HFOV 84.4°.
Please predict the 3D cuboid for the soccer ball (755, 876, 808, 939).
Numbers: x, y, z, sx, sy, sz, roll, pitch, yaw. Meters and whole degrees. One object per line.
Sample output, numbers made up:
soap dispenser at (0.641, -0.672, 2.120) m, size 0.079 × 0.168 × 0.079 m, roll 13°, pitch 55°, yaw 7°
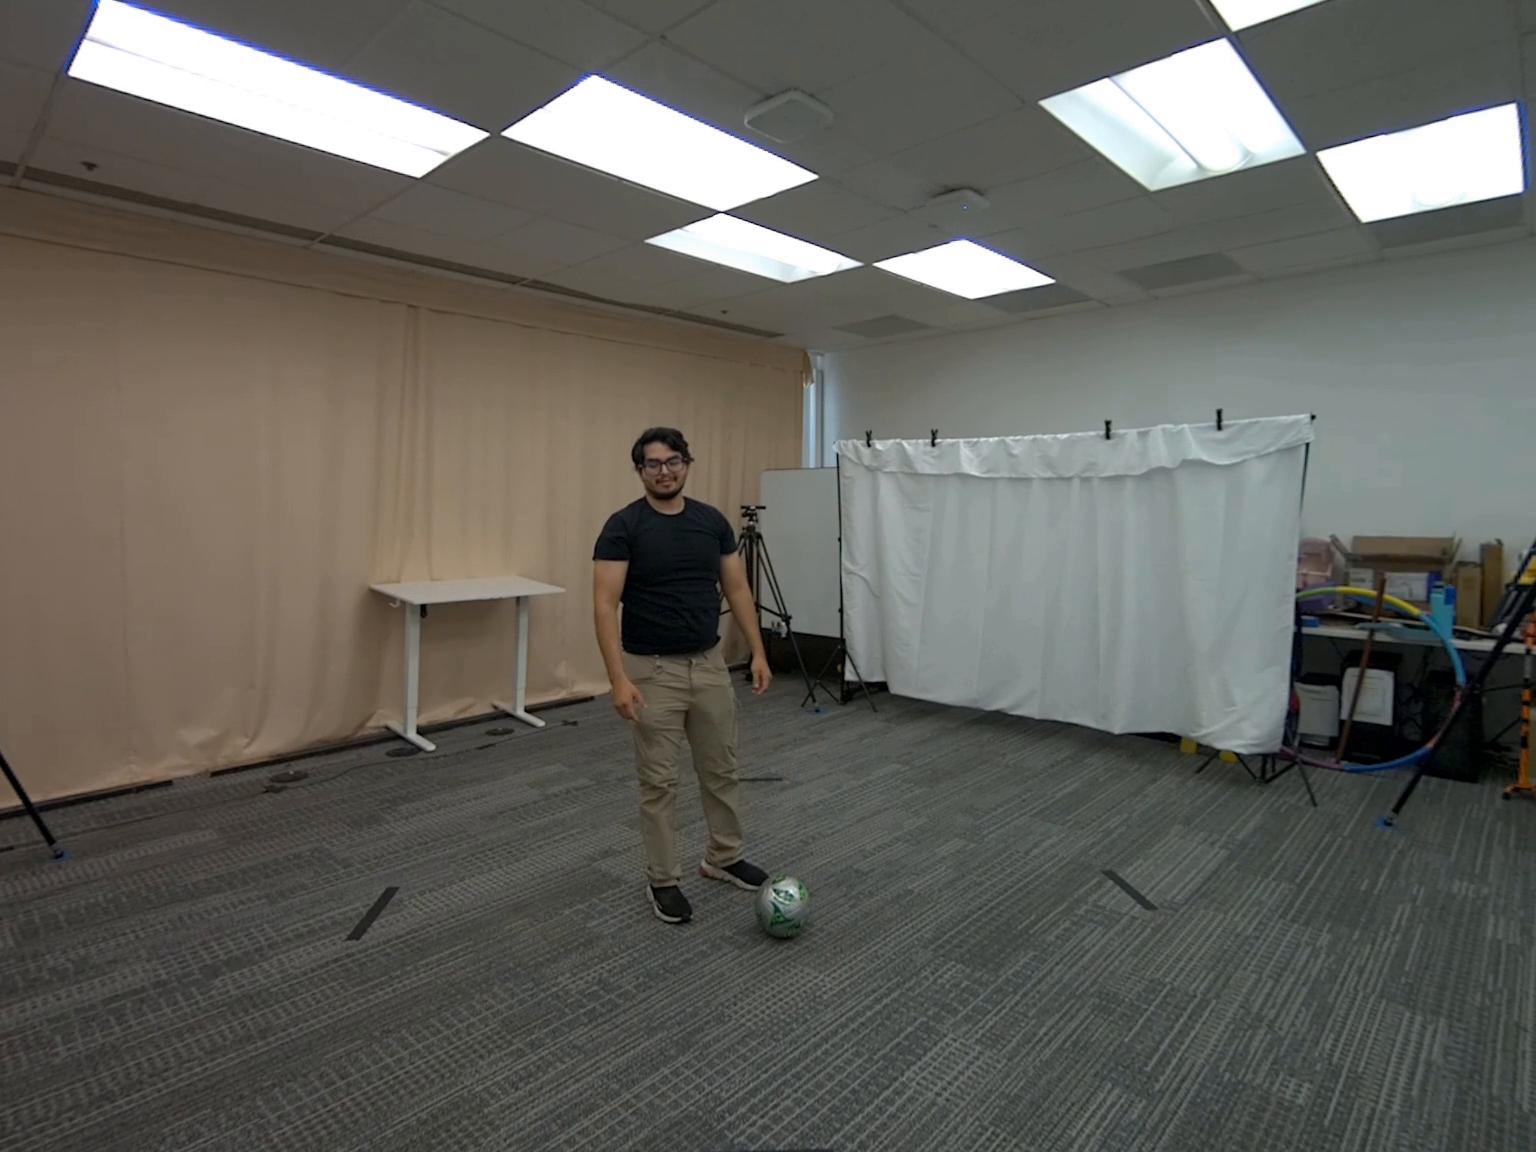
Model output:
soccer ball at (0.049, 1.071, 2.735) m, size 0.187 × 0.187 × 0.188 m, roll 0°, pitch 4°, yaw -2°
